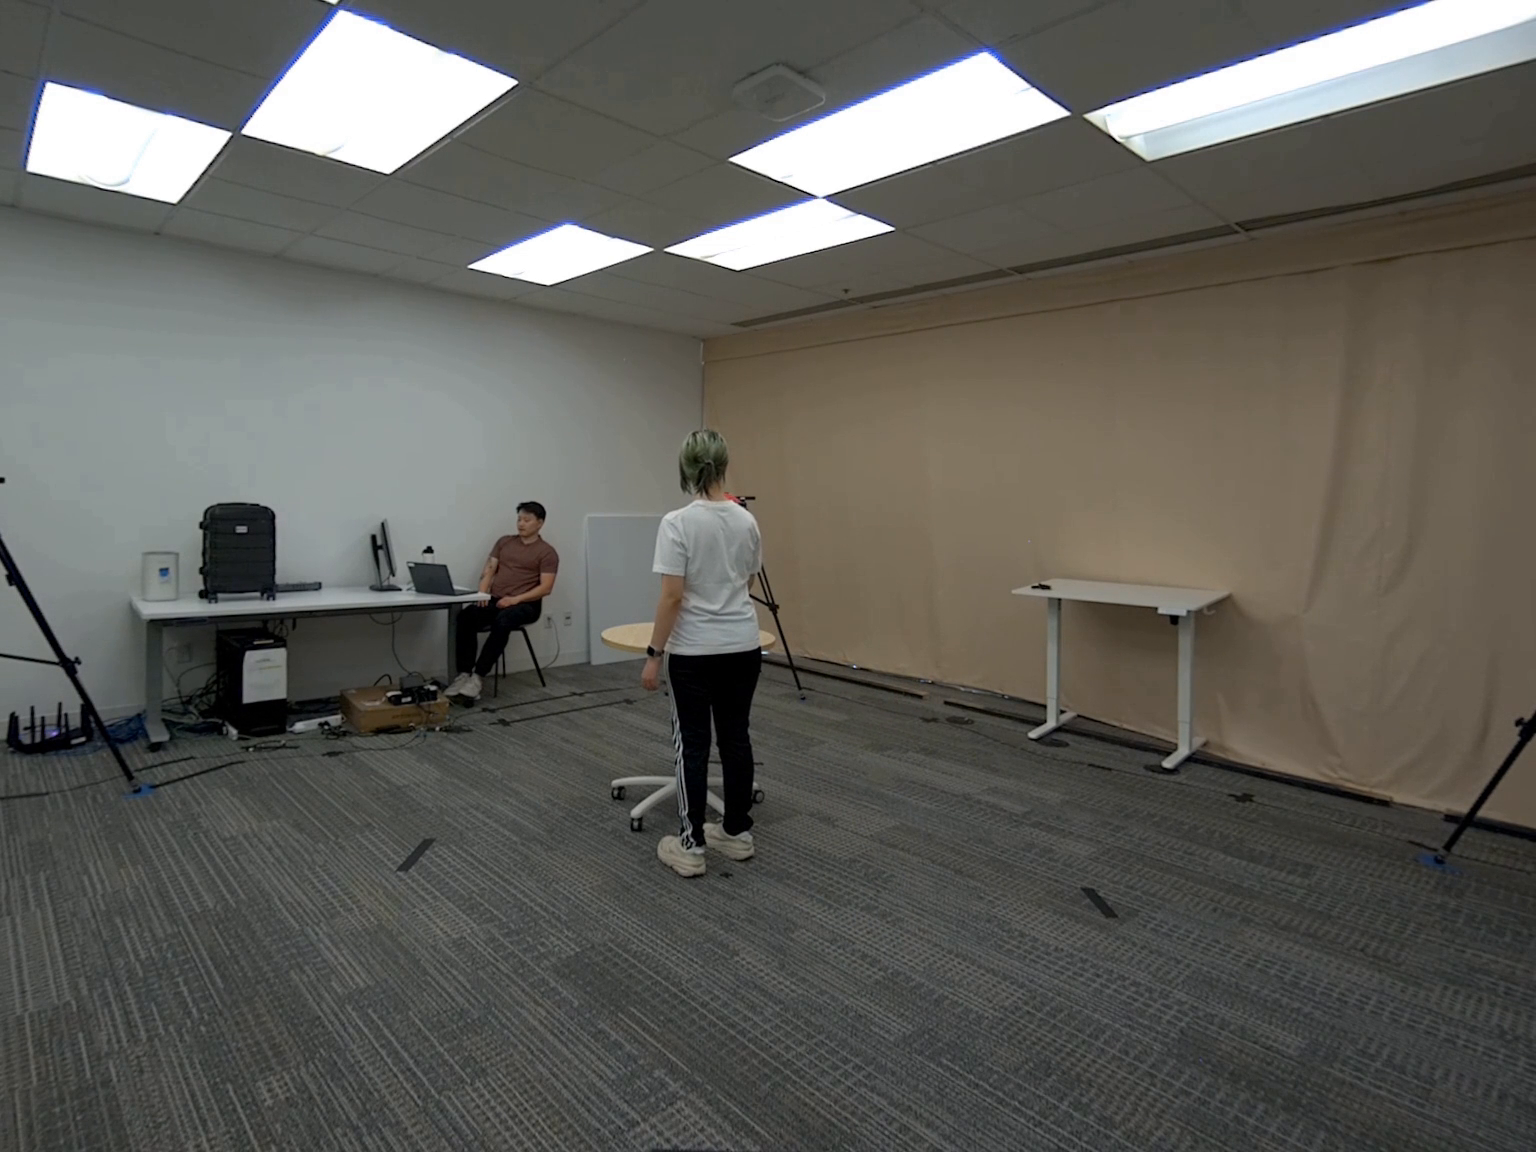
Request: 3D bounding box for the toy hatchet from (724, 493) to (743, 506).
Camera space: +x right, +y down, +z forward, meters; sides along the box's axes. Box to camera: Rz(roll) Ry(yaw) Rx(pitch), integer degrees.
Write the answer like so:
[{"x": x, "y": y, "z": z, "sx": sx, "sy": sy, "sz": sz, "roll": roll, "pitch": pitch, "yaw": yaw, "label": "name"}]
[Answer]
[{"x": -0.234, "y": -0.246, "z": 3.531, "sx": 0.132, "sy": 0.271, "sz": 0.029, "roll": 30, "pitch": -20, "yaw": 10, "label": "toy hatchet"}]
